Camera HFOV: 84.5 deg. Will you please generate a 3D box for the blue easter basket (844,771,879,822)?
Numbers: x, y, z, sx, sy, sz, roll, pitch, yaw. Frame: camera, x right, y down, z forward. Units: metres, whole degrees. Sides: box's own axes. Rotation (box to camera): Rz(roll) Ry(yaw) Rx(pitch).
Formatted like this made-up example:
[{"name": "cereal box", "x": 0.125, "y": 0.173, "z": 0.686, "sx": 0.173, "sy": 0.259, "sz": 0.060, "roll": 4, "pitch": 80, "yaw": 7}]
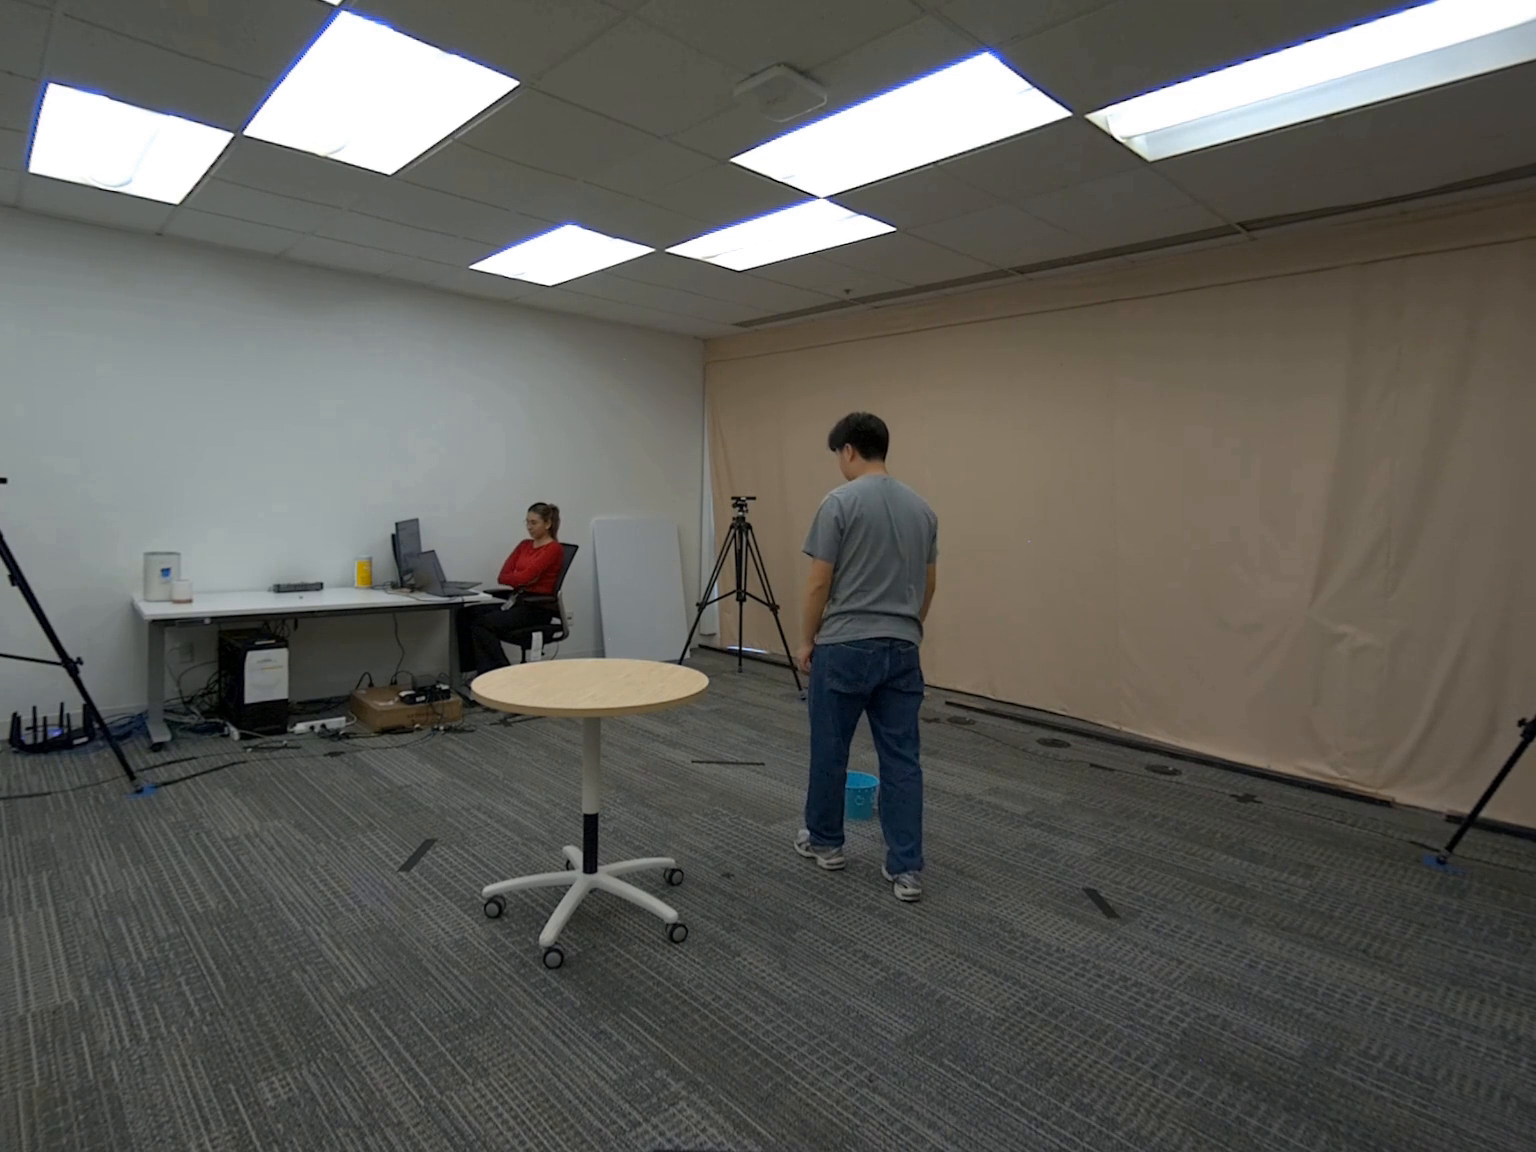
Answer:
[{"name": "blue easter basket", "x": 0.371, "y": 0.982, "z": 3.777, "sx": 0.243, "sy": 0.155, "sz": 0.244, "roll": 1, "pitch": 5, "yaw": -1}]
